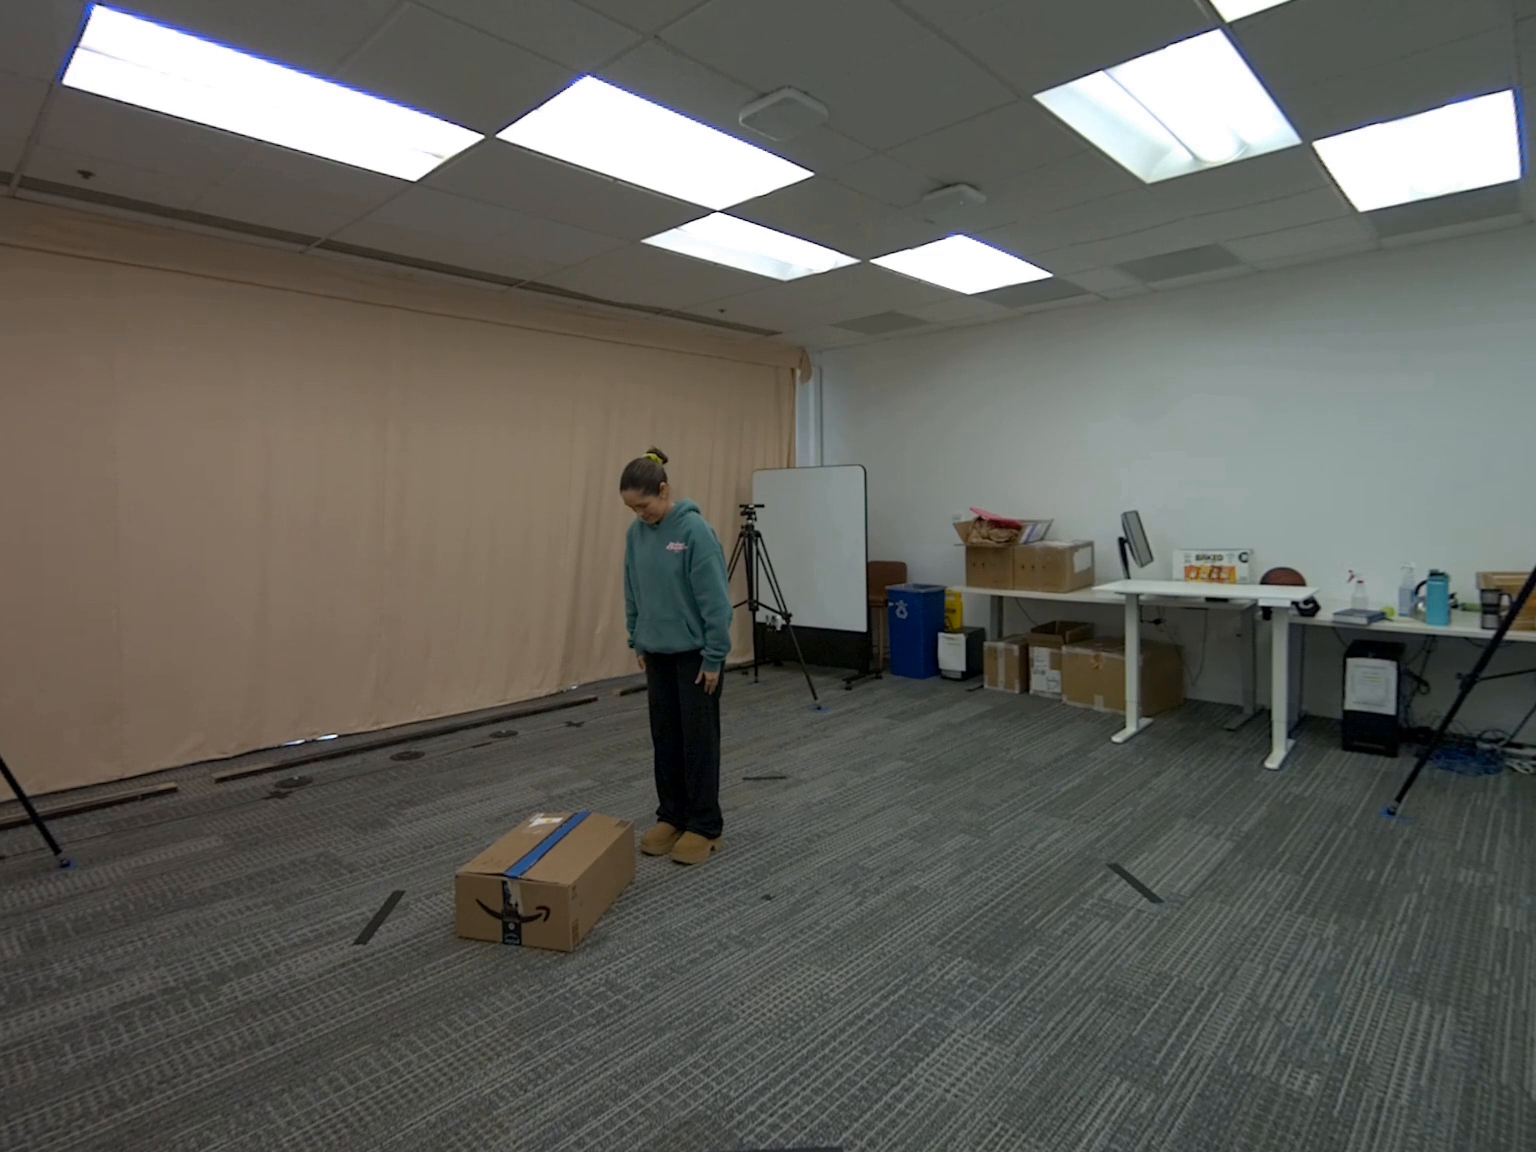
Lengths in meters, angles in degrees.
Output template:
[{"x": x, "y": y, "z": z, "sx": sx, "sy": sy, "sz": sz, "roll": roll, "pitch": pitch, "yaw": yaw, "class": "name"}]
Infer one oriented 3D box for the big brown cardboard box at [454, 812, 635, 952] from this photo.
[{"x": -0.758, "y": 1.044, "z": 2.960, "sx": 0.424, "sy": 0.232, "sz": 0.582, "roll": 0, "pitch": 5, "yaw": 13, "class": "big brown cardboard box"}]
